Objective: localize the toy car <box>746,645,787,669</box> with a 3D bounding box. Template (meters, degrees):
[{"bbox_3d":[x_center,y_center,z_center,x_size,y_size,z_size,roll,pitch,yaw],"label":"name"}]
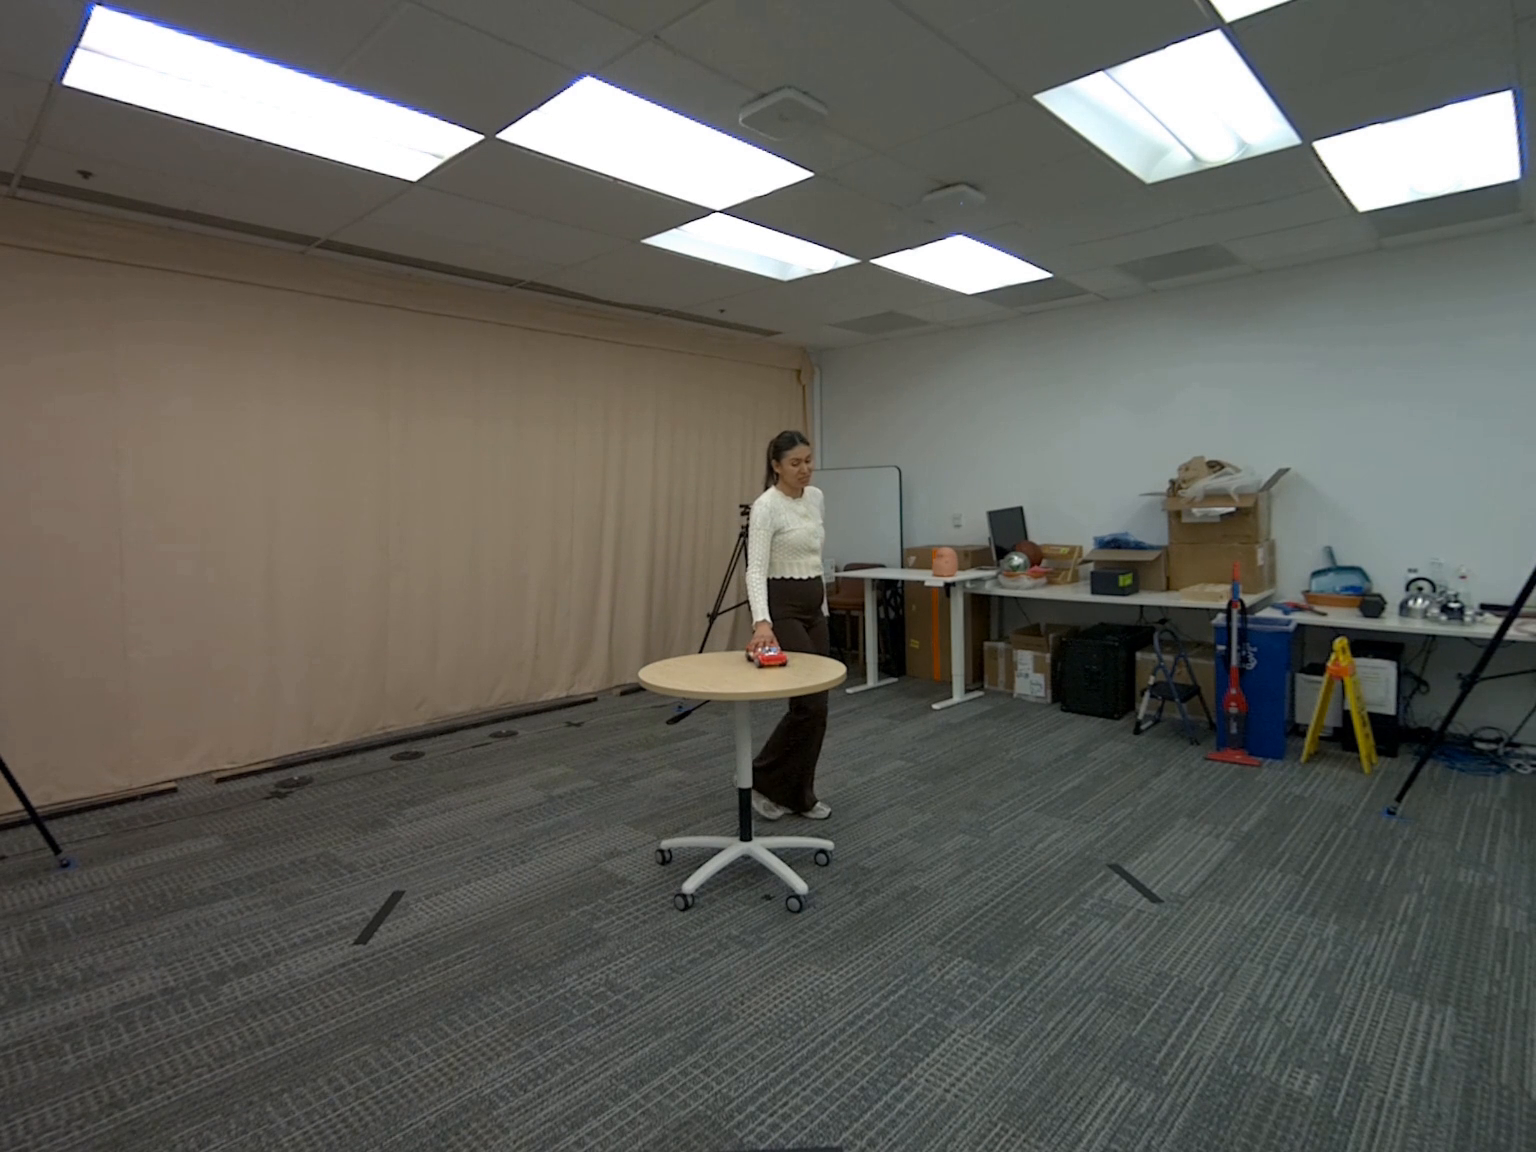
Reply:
[{"bbox_3d":[-0.013,0.301,3.228,0.129,0.082,0.259,-3,16,-10],"label":"toy car"}]
